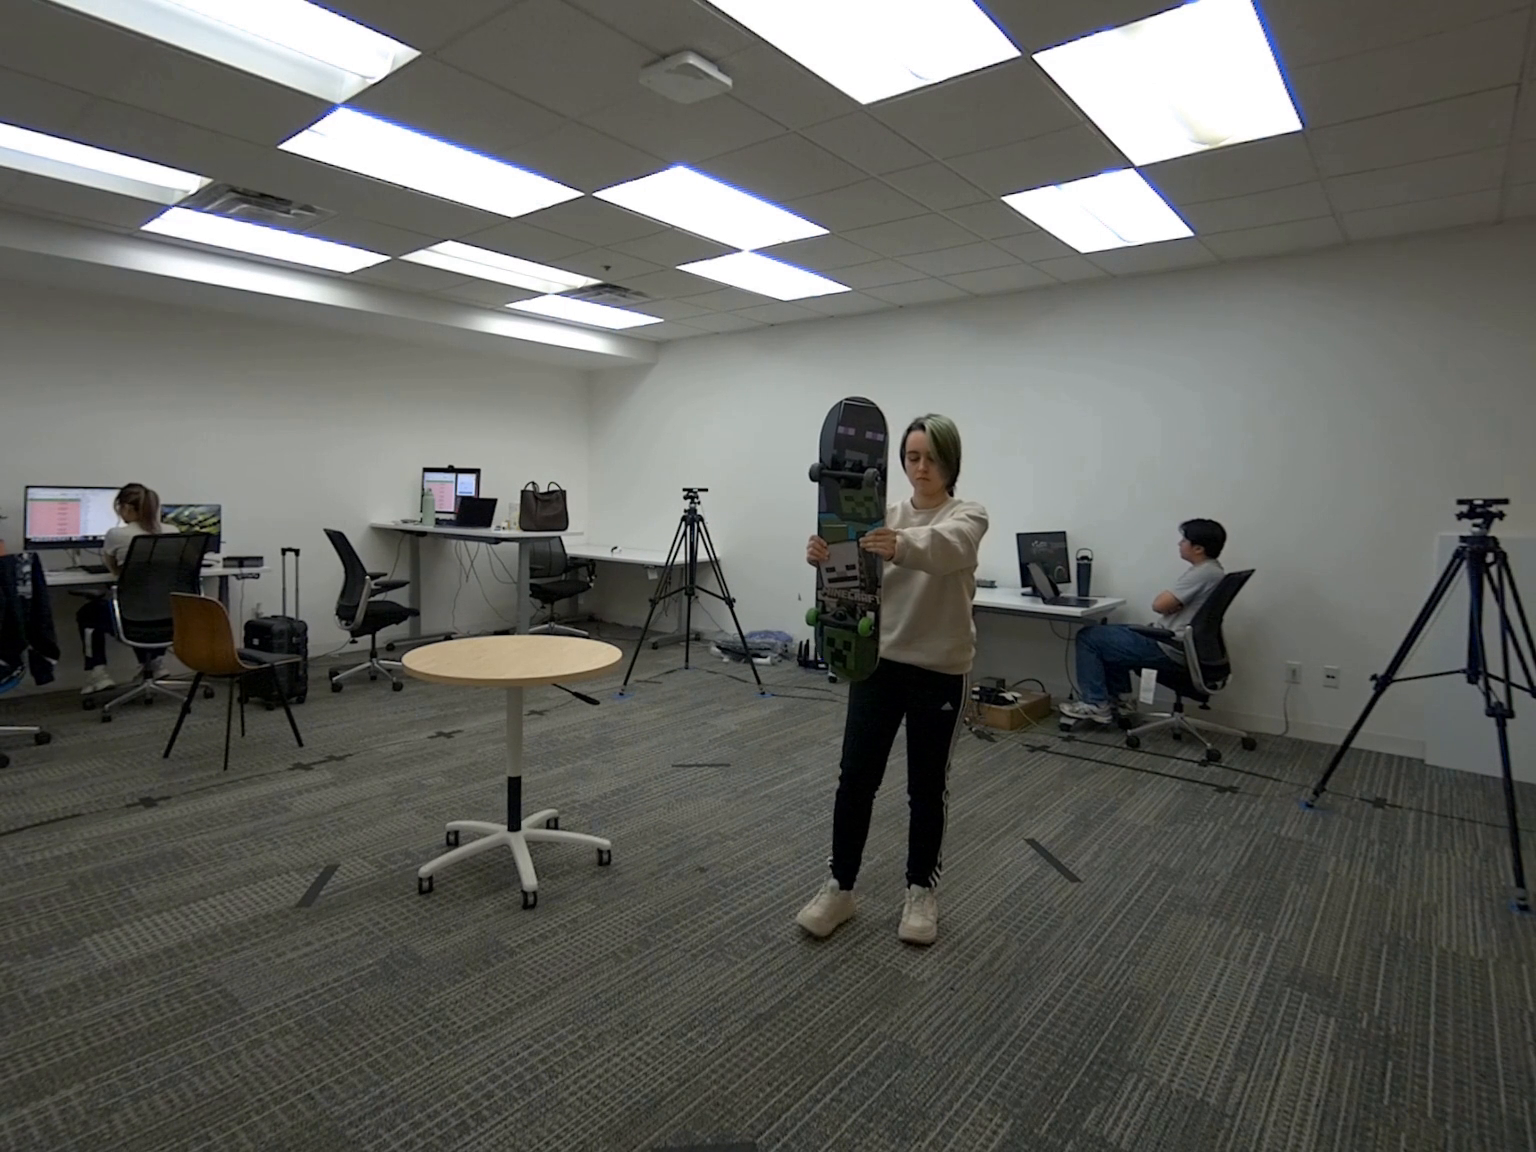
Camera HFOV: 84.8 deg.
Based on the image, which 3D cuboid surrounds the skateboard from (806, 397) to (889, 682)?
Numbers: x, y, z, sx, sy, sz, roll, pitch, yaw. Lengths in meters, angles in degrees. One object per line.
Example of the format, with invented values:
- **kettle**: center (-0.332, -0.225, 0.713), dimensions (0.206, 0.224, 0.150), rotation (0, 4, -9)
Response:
- **skateboard**: center (0.196, -0.076, 2.255), dimensions (0.200, 0.775, 0.108), rotation (10, 16, 30)
